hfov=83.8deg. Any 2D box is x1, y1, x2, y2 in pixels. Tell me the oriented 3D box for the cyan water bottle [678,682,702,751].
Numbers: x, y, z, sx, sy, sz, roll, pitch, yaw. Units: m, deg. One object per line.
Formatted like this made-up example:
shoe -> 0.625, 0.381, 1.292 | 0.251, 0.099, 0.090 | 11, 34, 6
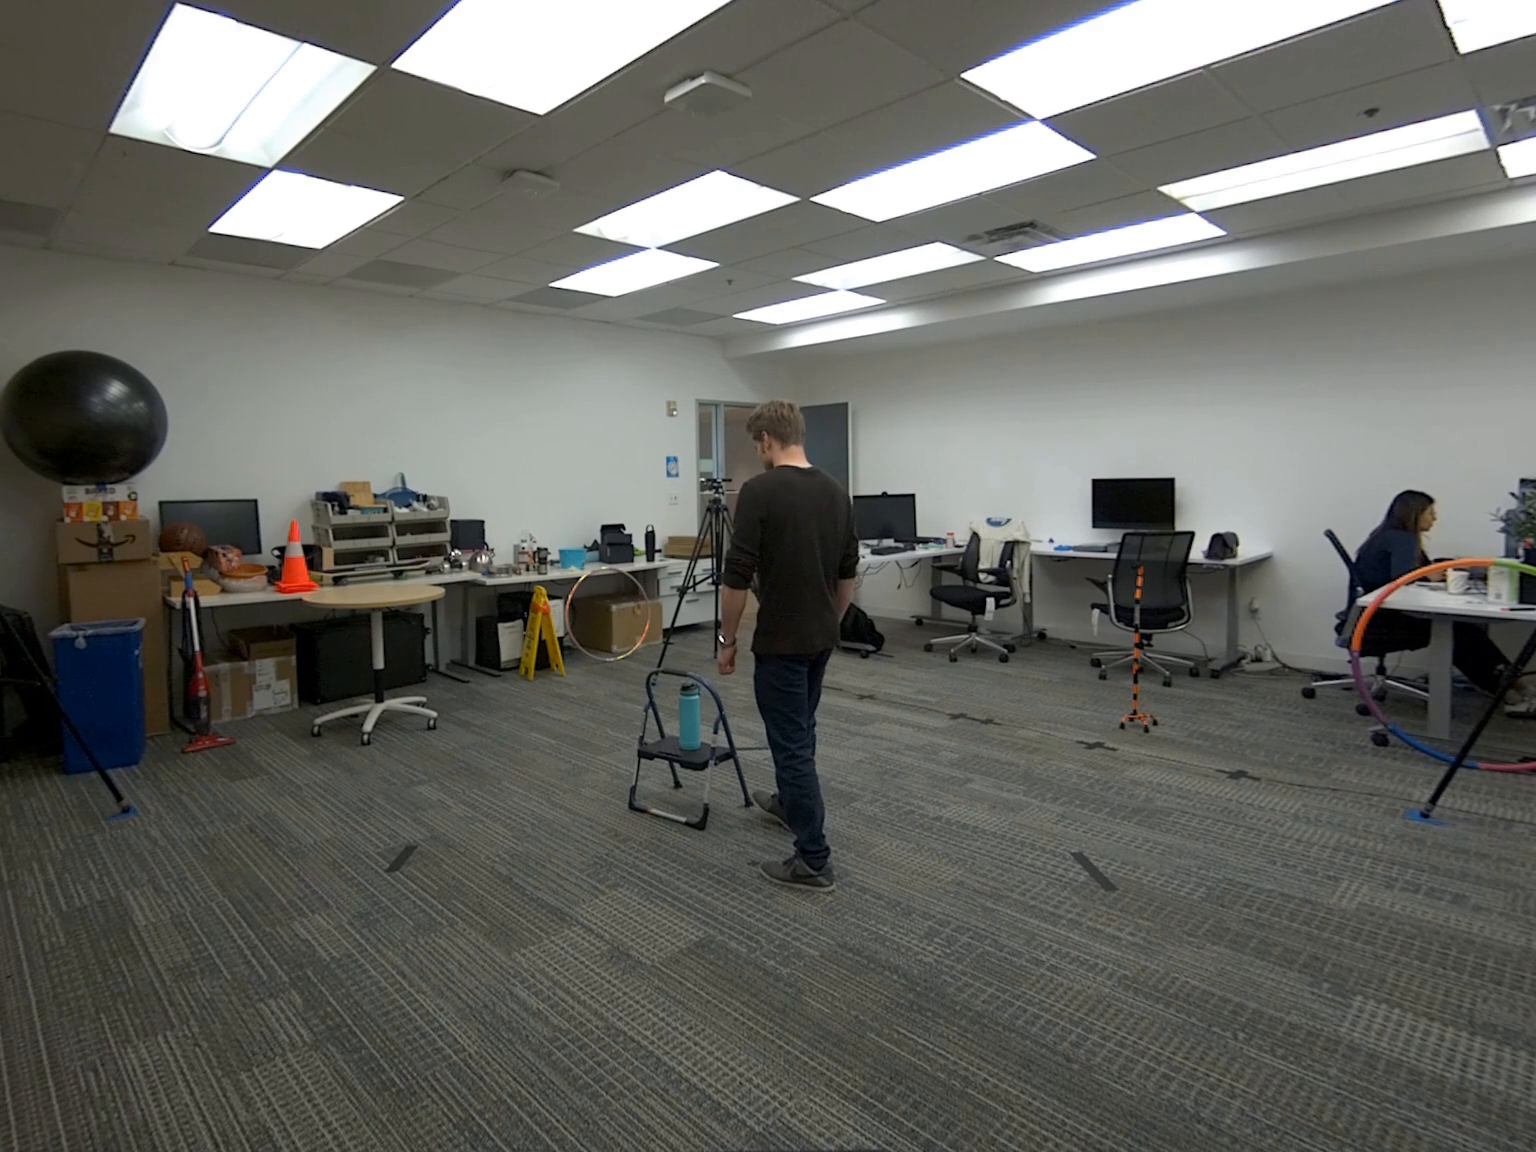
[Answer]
cyan water bottle -> -0.334, 0.589, 3.632 | 0.092, 0.283, 0.092 | -1, 2, -2
